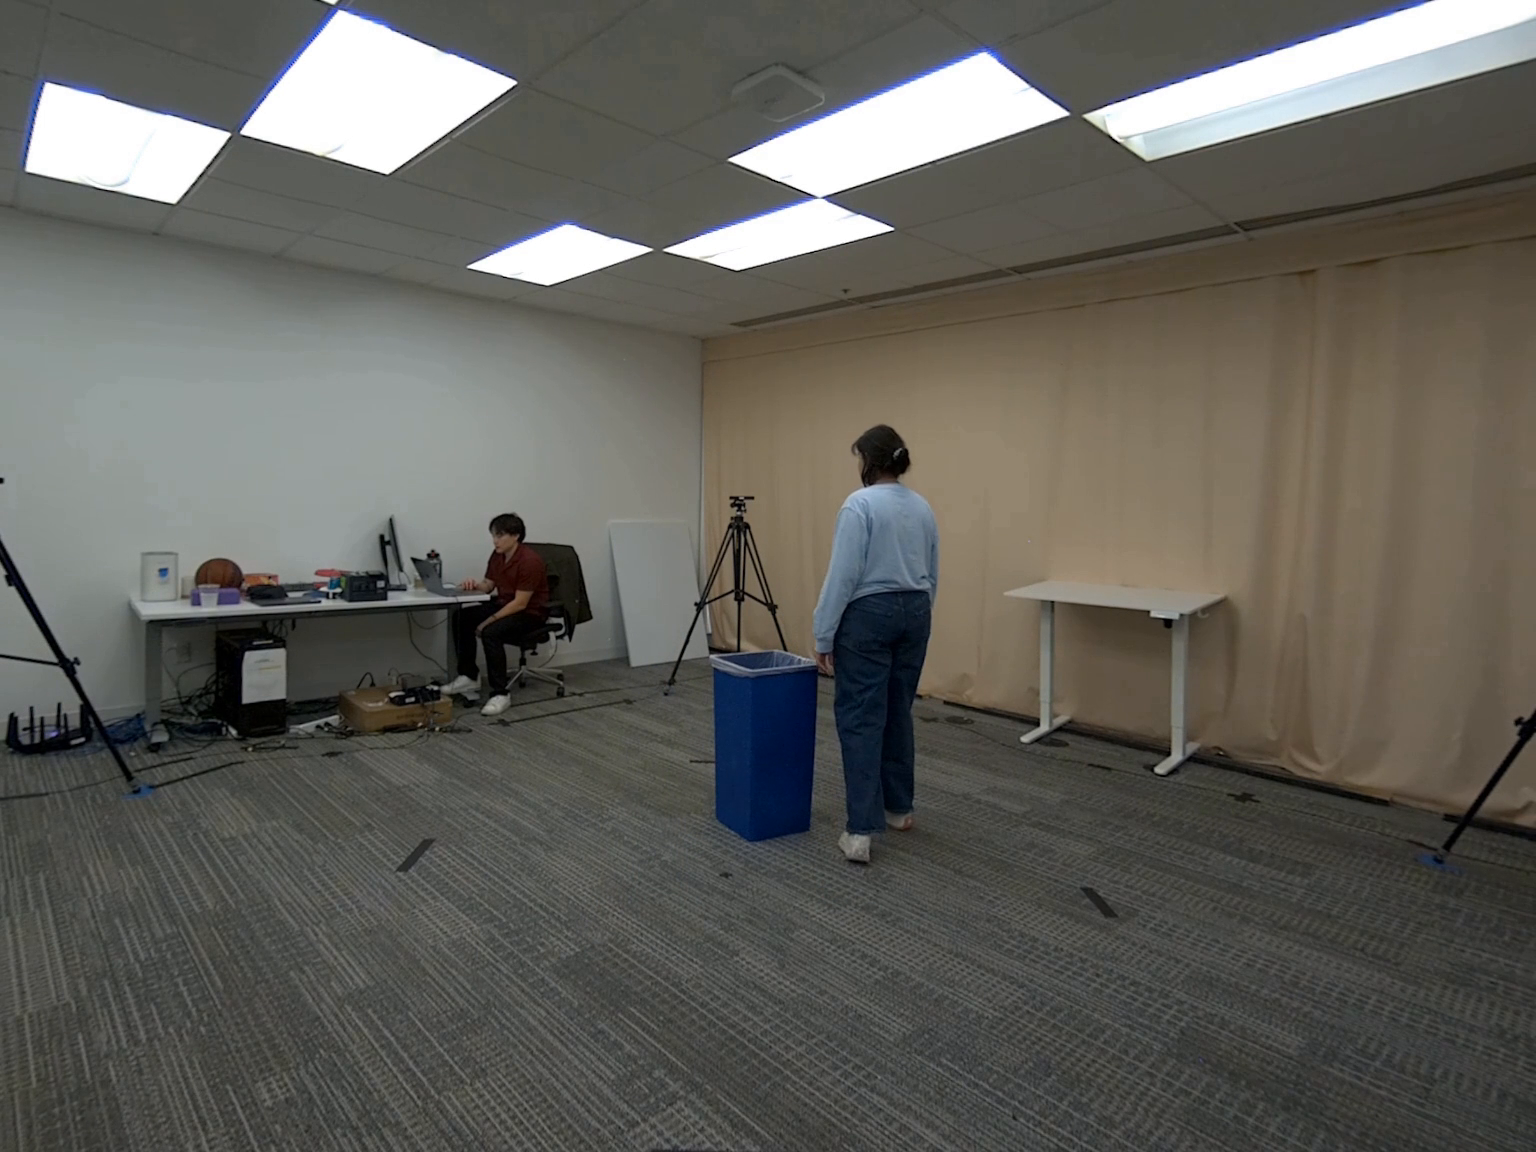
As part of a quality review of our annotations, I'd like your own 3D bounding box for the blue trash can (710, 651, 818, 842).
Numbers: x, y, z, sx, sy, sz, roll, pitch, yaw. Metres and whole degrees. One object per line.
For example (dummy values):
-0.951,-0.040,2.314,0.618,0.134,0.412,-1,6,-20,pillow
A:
-0.027,0.705,3.585,0.366,0.712,0.387,0,3,-32,blue trash can
